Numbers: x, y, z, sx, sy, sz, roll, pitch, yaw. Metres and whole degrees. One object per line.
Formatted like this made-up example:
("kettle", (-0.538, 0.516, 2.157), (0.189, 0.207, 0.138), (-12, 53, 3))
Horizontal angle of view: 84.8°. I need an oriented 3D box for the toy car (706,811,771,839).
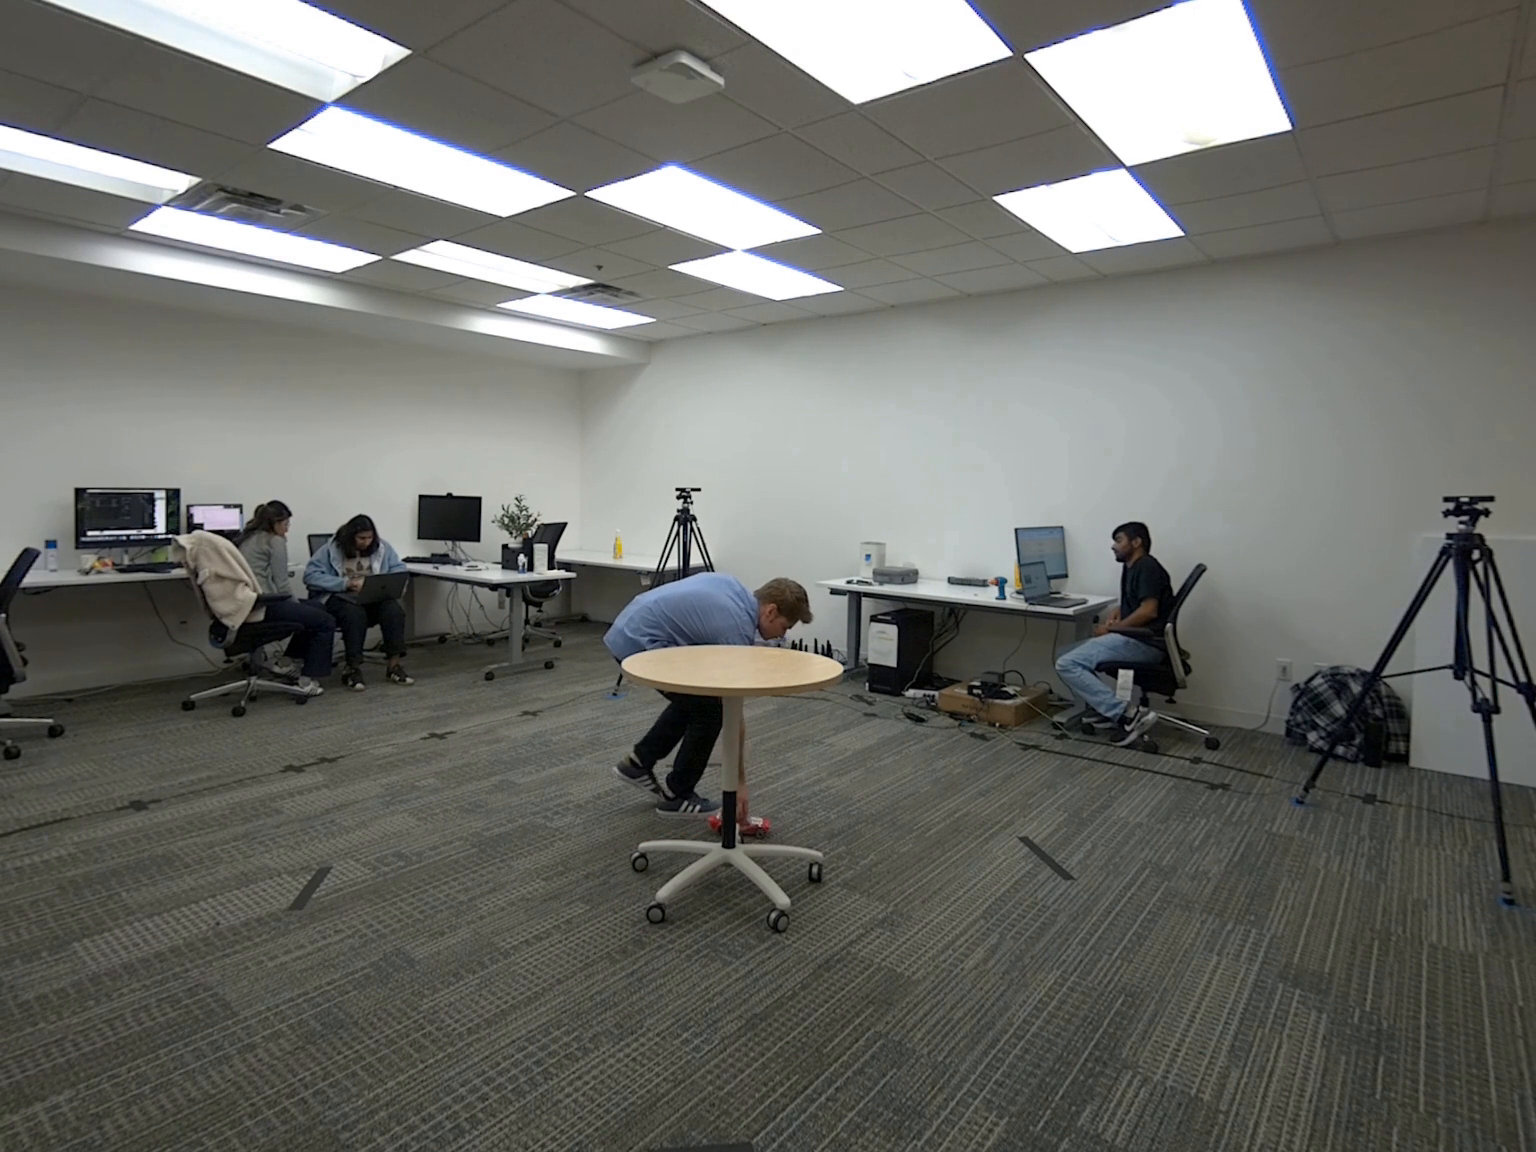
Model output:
("toy car", (-0.133, 1.009, 3.455), (0.256, 0.083, 0.130), (12, 4, 4))
